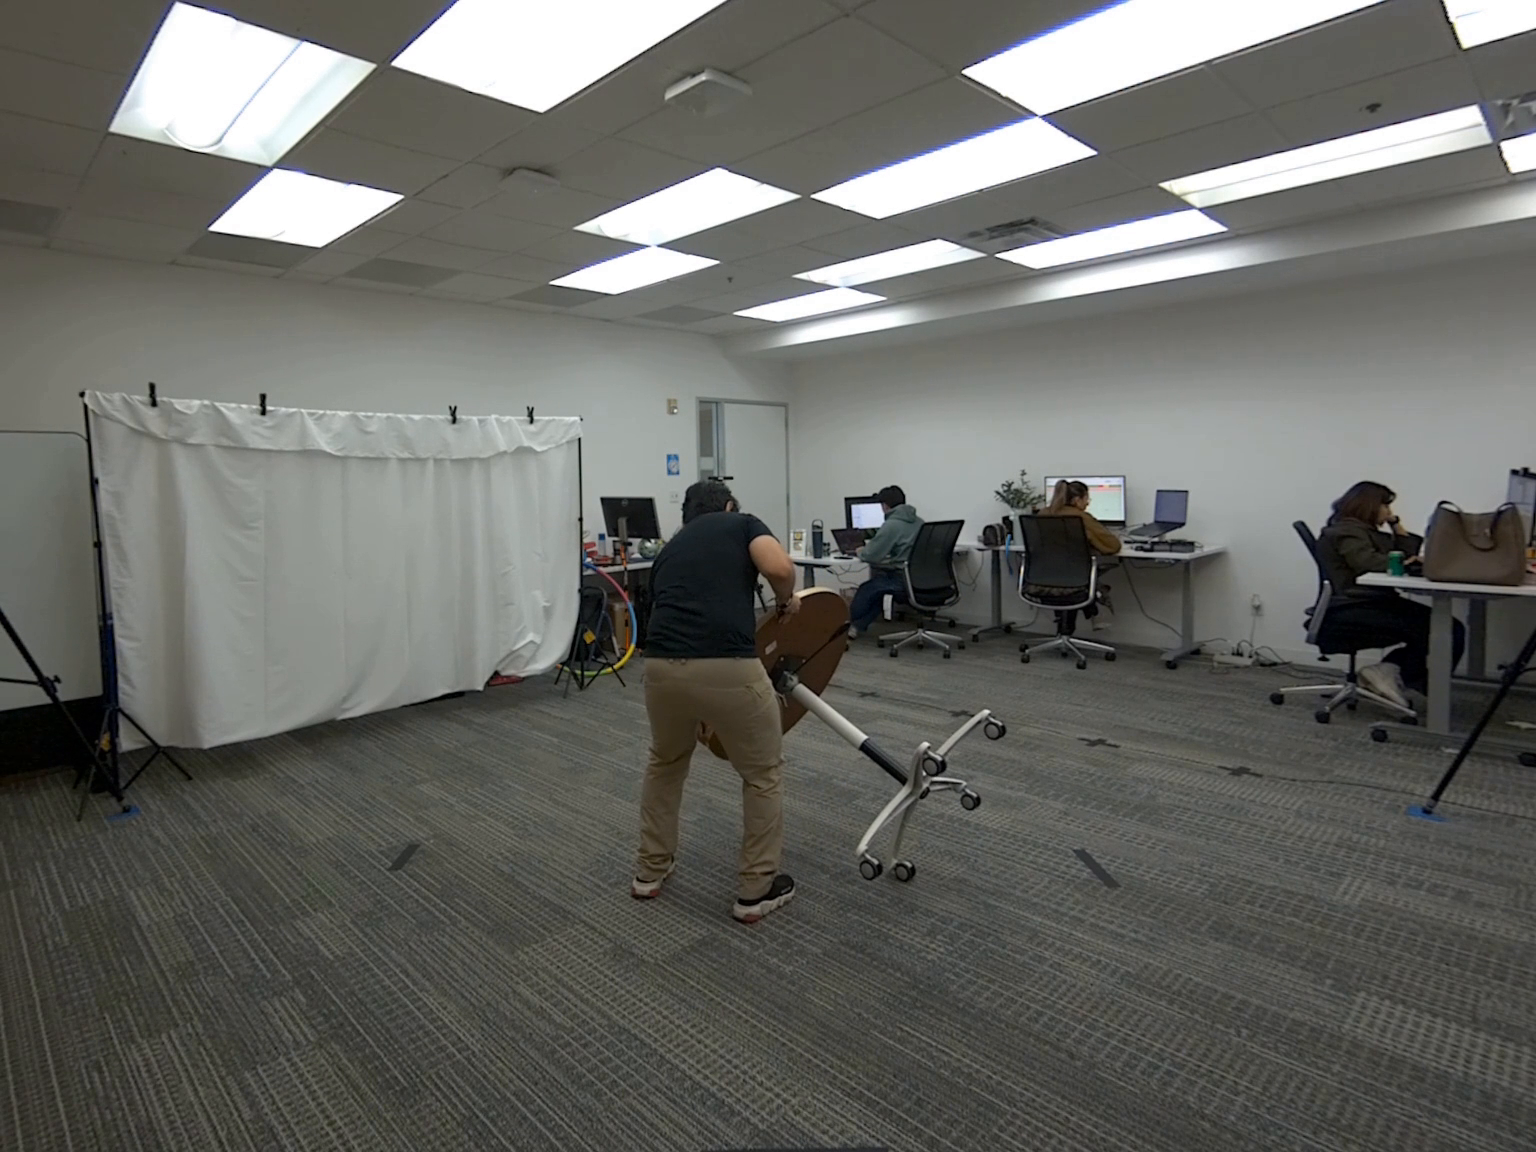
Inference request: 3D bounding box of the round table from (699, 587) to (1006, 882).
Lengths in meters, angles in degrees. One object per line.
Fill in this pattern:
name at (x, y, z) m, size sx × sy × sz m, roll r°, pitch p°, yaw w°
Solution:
round table at (0.316, 0.559, 3.026) m, size 0.816 × 0.776 × 0.765 m, roll 35°, pitch 26°, yaw 33°
